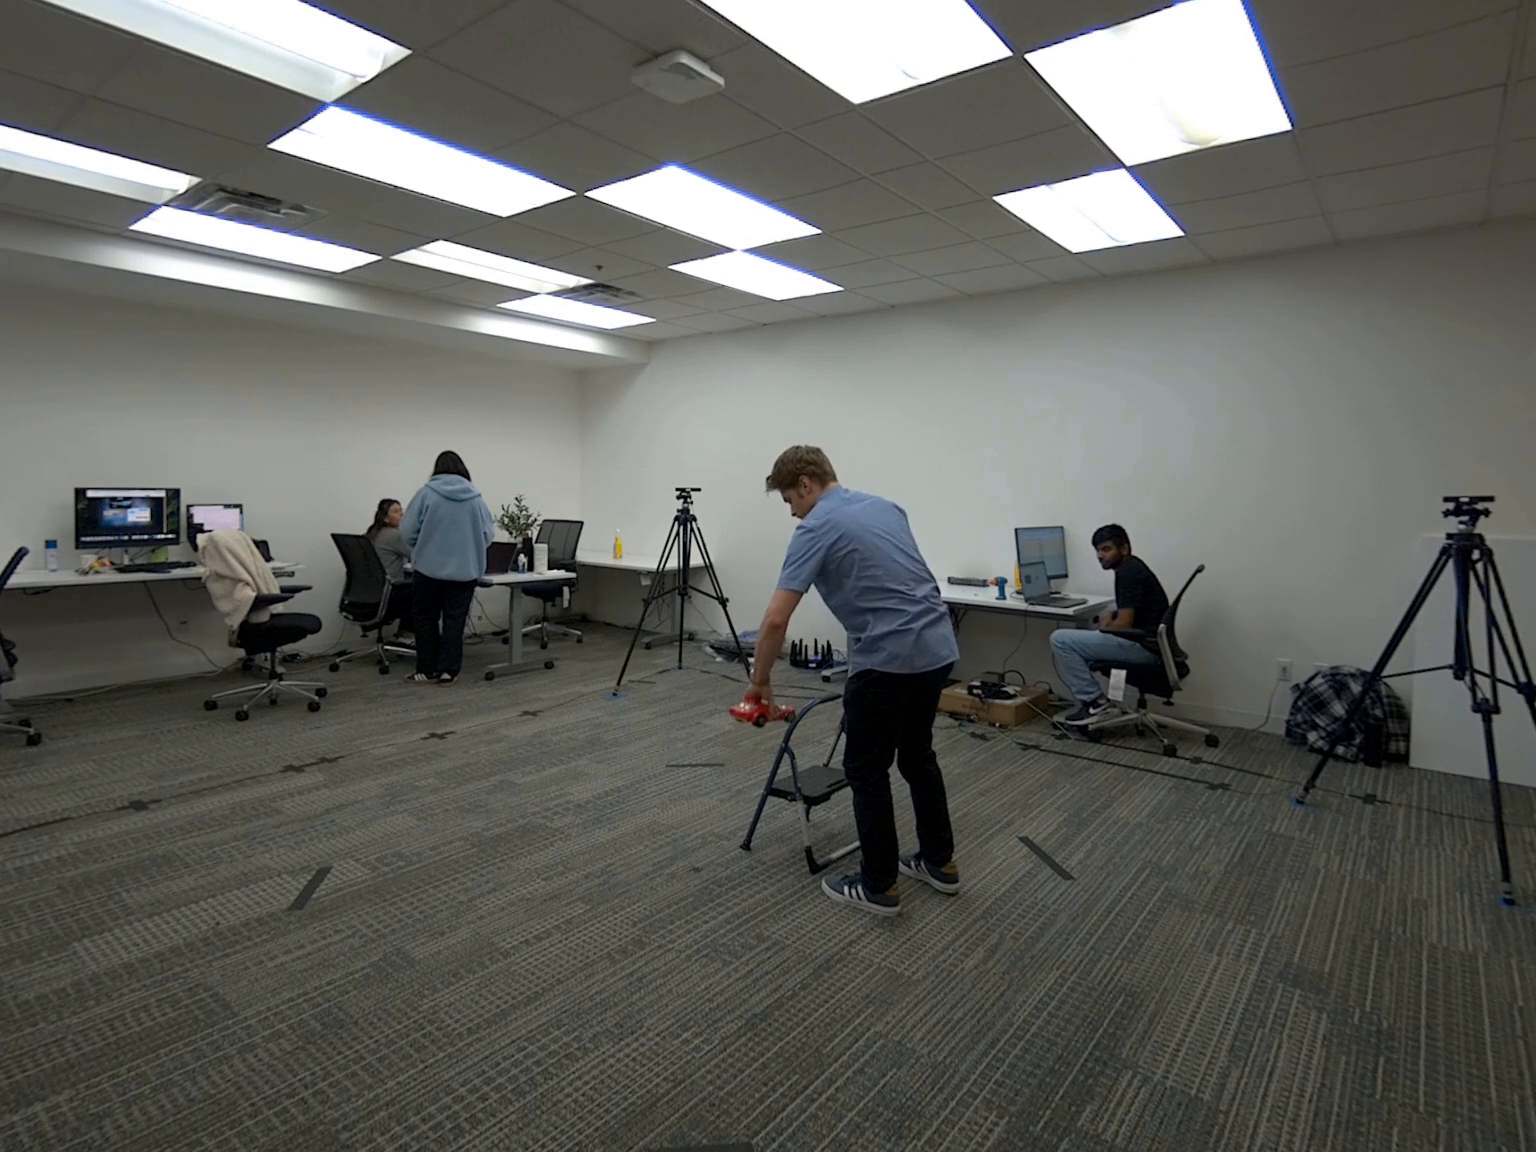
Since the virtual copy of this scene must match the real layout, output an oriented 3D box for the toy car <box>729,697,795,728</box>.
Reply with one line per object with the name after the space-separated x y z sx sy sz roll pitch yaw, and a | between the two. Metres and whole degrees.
-0.034 0.467 2.885 0.245 0.083 0.135 15 -5 -42 | toy car
